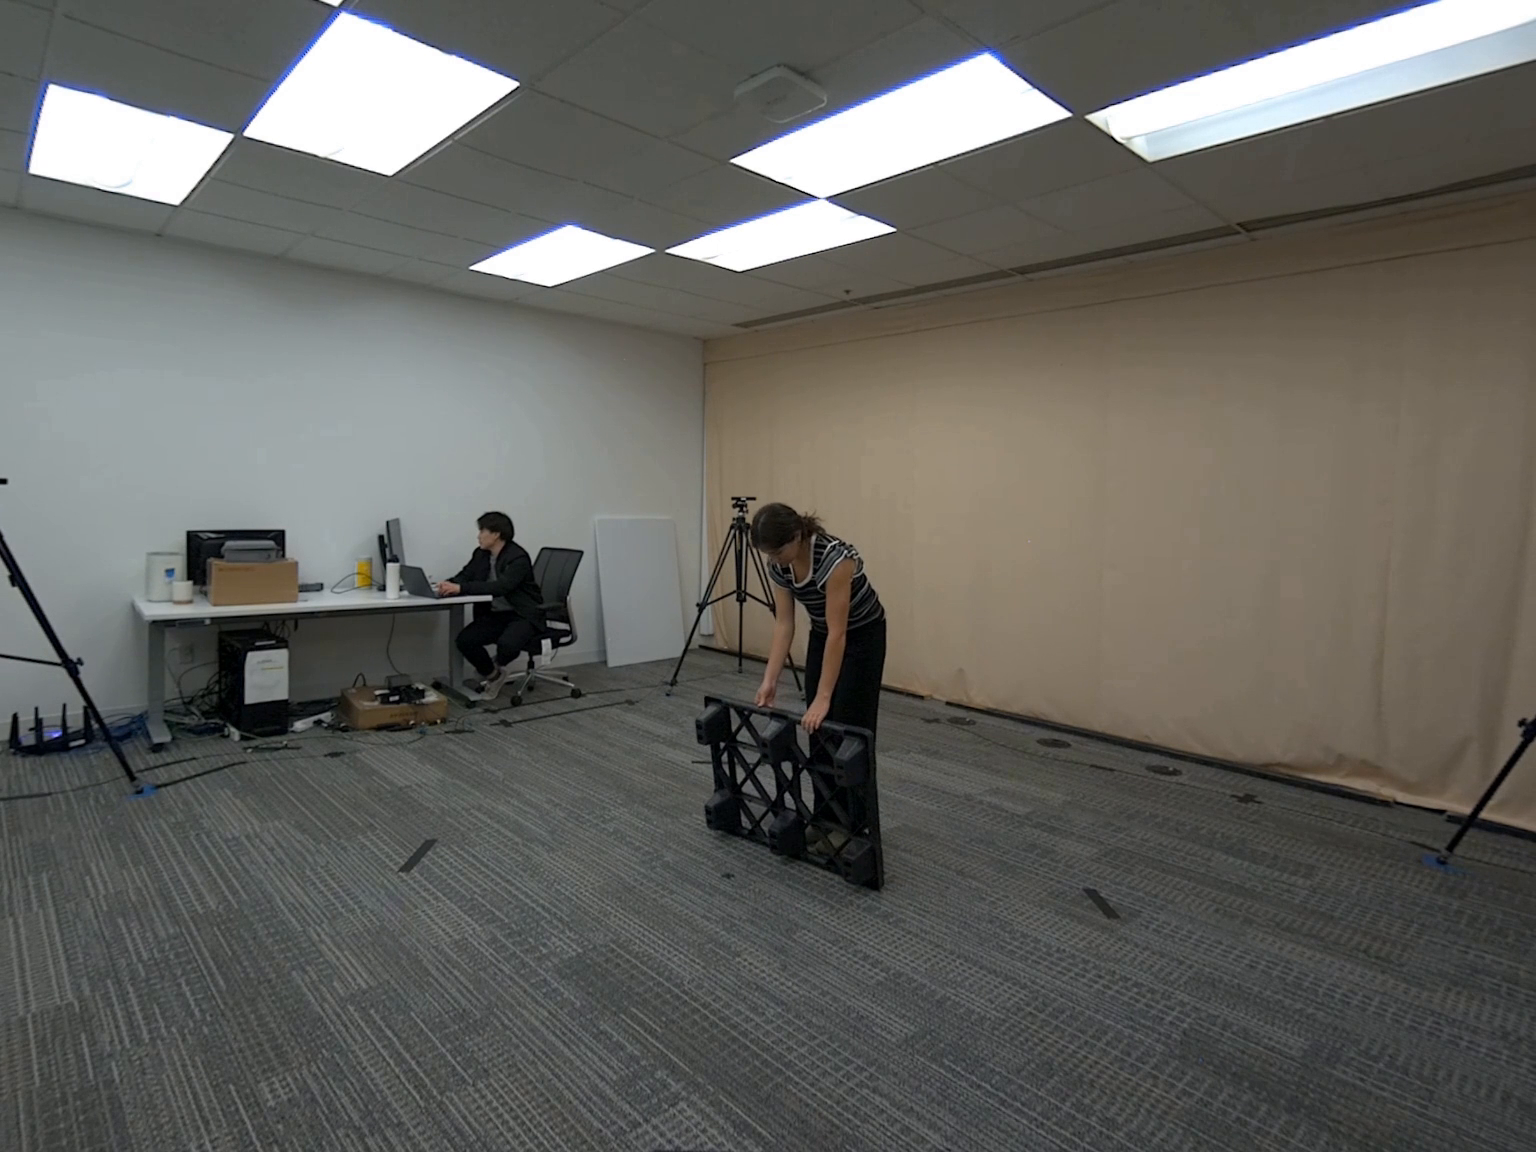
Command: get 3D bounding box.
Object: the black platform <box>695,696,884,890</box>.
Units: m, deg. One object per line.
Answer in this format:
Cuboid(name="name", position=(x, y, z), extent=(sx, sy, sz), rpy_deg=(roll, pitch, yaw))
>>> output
Cuboid(name="black platform", position=(0.047, 0.808, 3.196), extent=(0.826, 0.600, 0.141), rpy_deg=(5, 15, 42))
